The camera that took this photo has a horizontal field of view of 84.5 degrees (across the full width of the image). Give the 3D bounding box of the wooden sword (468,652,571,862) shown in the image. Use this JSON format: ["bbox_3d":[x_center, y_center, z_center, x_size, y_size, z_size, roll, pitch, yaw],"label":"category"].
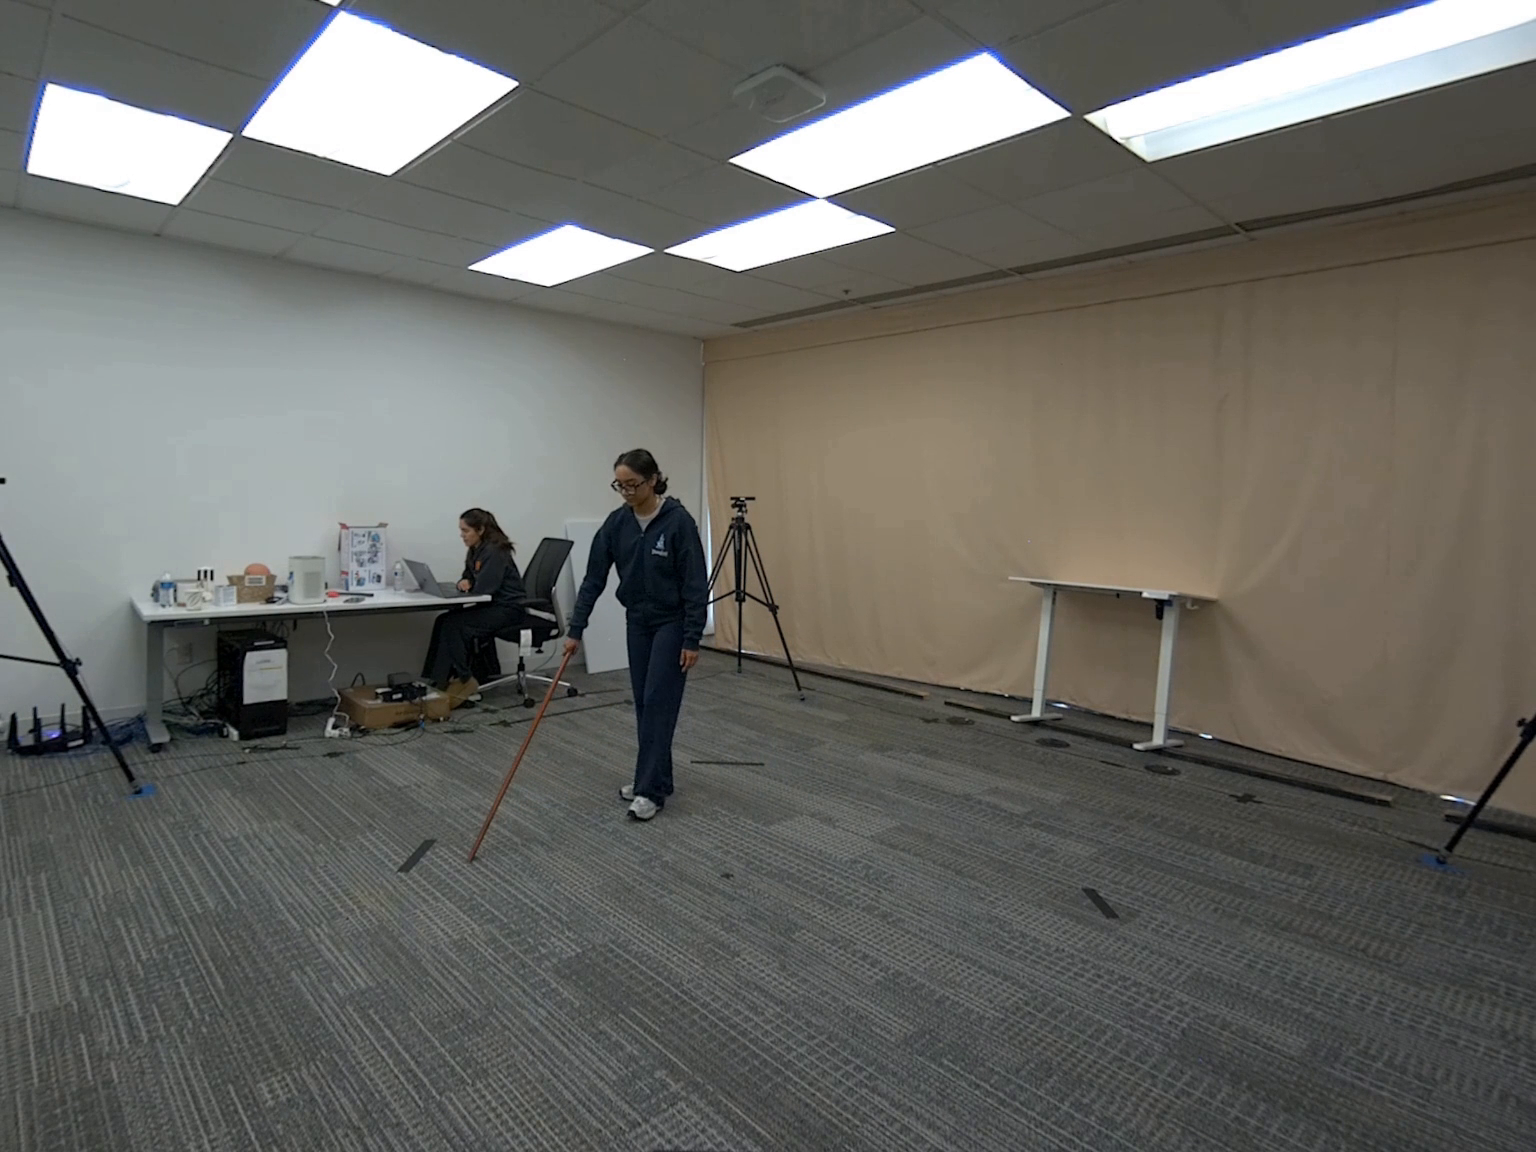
[{"bbox_3d":[-1.019,0.688,3.482,0.051,1.039,0.024,23,-38,-9],"label":"wooden sword"}]
